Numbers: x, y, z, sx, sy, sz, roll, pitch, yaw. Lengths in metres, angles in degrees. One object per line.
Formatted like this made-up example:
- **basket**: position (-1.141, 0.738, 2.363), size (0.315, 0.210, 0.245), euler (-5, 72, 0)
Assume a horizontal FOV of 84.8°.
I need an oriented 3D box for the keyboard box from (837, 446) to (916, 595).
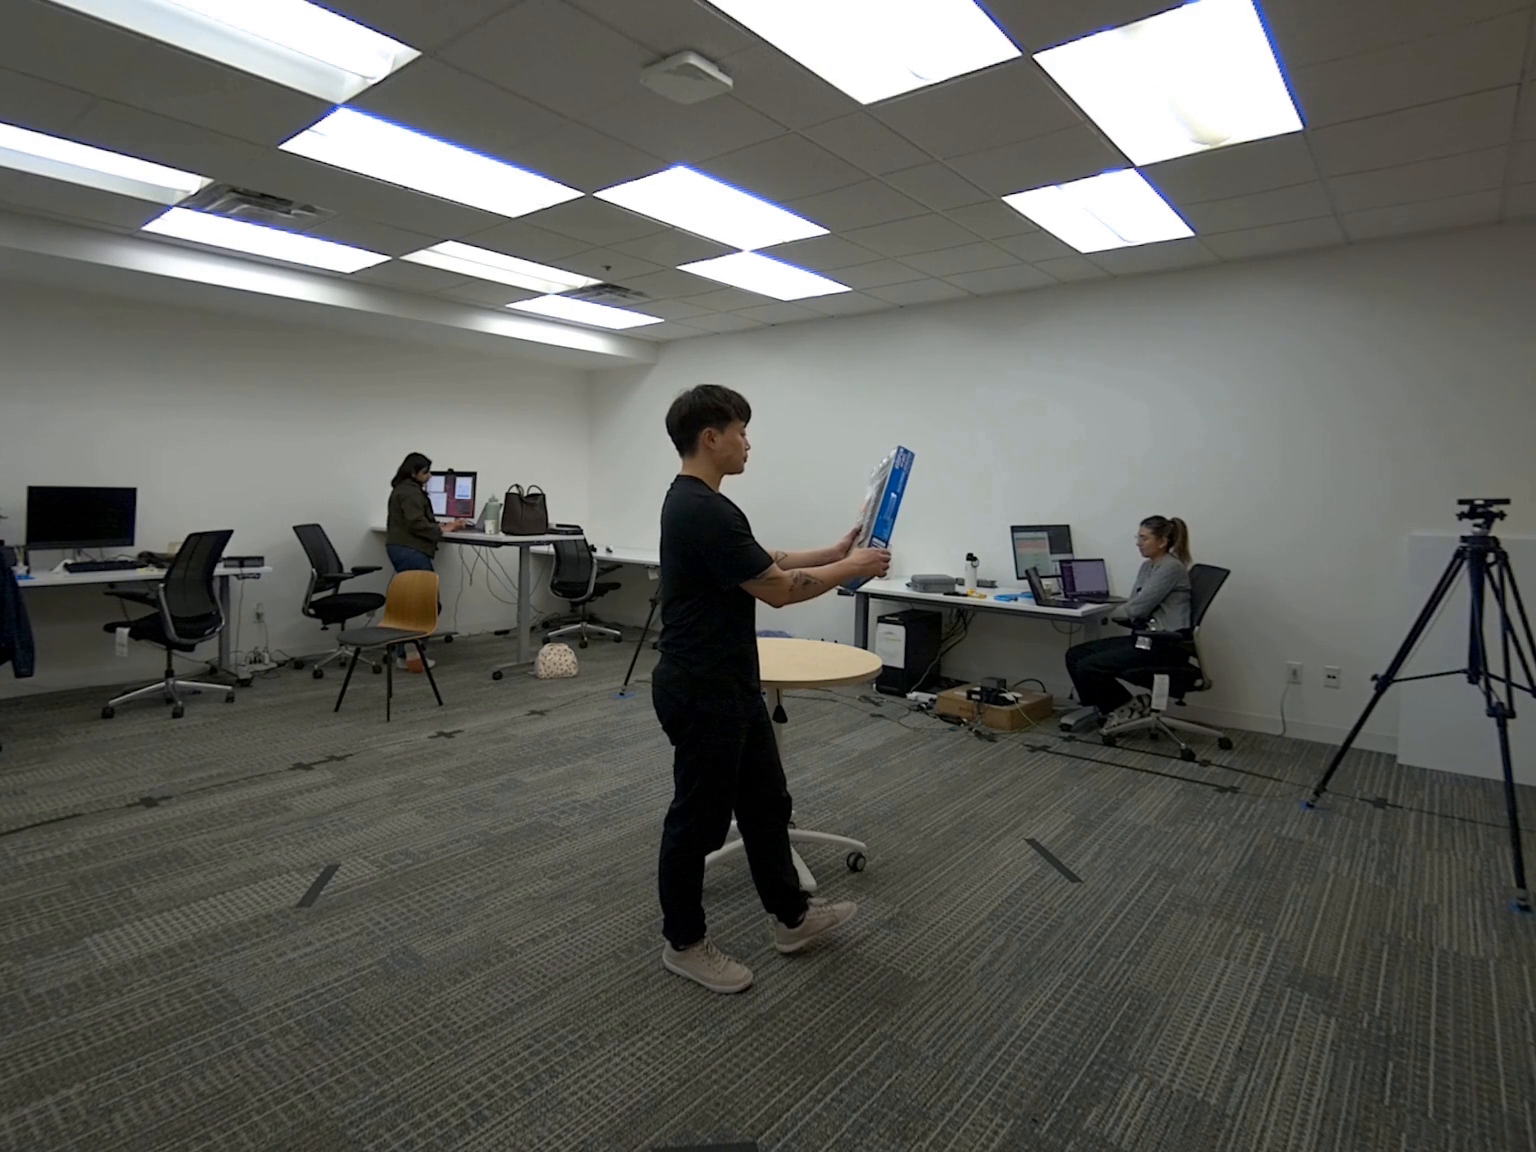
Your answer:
- **keyboard box**: position (0.326, -0.170, 2.536), size (0.058, 0.442, 0.176), euler (26, -28, -12)
